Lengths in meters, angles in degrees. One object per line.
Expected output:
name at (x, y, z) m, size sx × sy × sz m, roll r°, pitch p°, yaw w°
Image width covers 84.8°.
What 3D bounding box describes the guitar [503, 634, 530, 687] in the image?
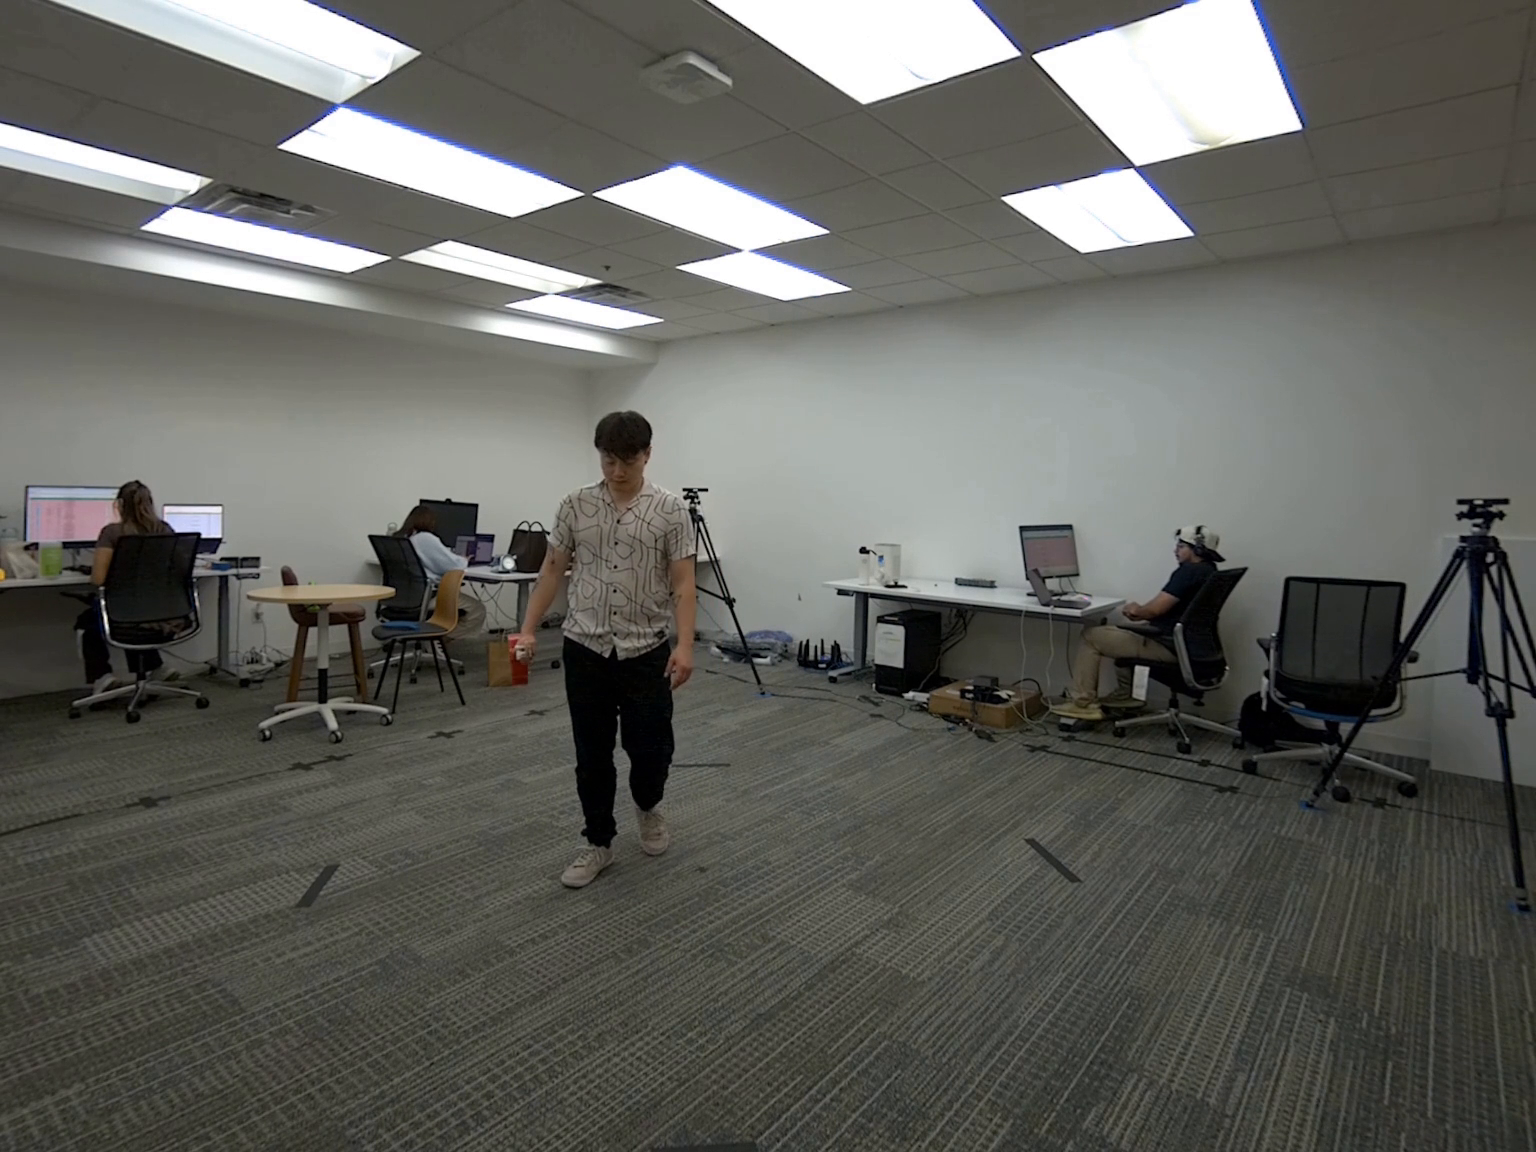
guitar at (-0.890, 0.253, 3.048) m, size 0.069 × 0.197 × 0.496 m, roll -1°, pitch -17°, yaw -17°
